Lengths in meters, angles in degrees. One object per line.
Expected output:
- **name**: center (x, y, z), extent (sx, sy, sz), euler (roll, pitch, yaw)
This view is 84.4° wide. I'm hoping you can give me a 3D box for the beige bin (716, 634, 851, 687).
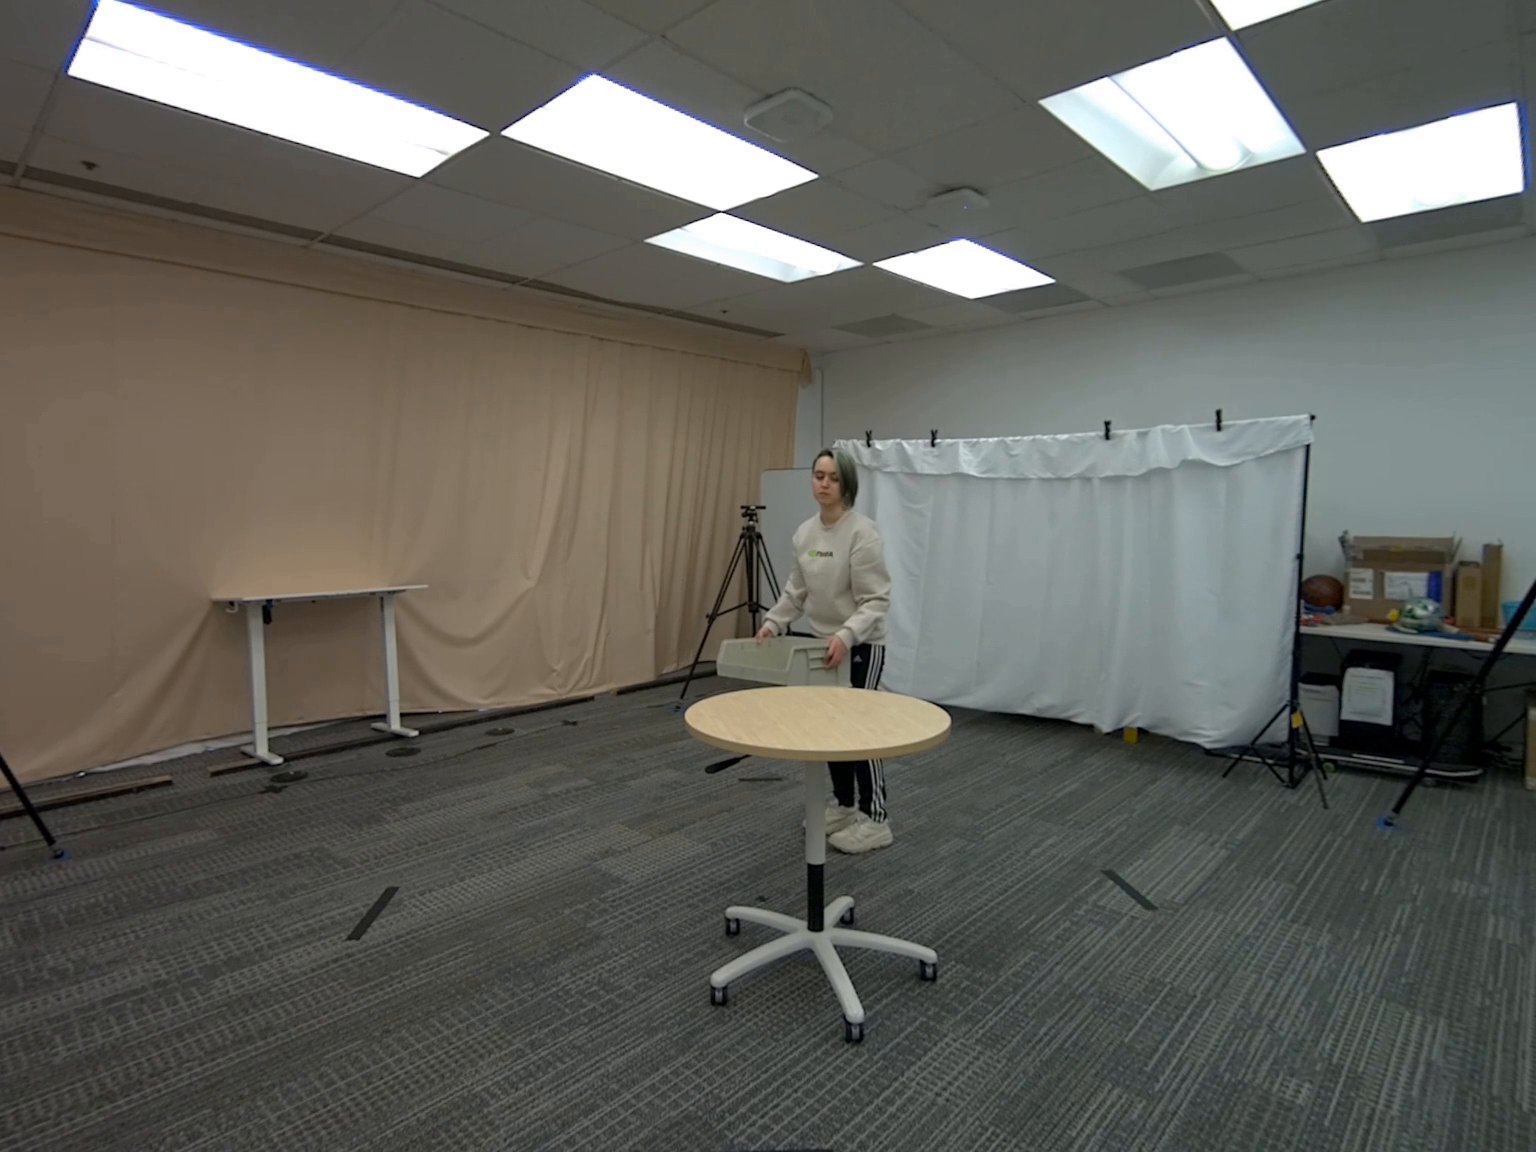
- **beige bin**: center (0.068, 0.346, 3.396), extent (0.365, 0.189, 0.435), euler (3, -2, -39)
